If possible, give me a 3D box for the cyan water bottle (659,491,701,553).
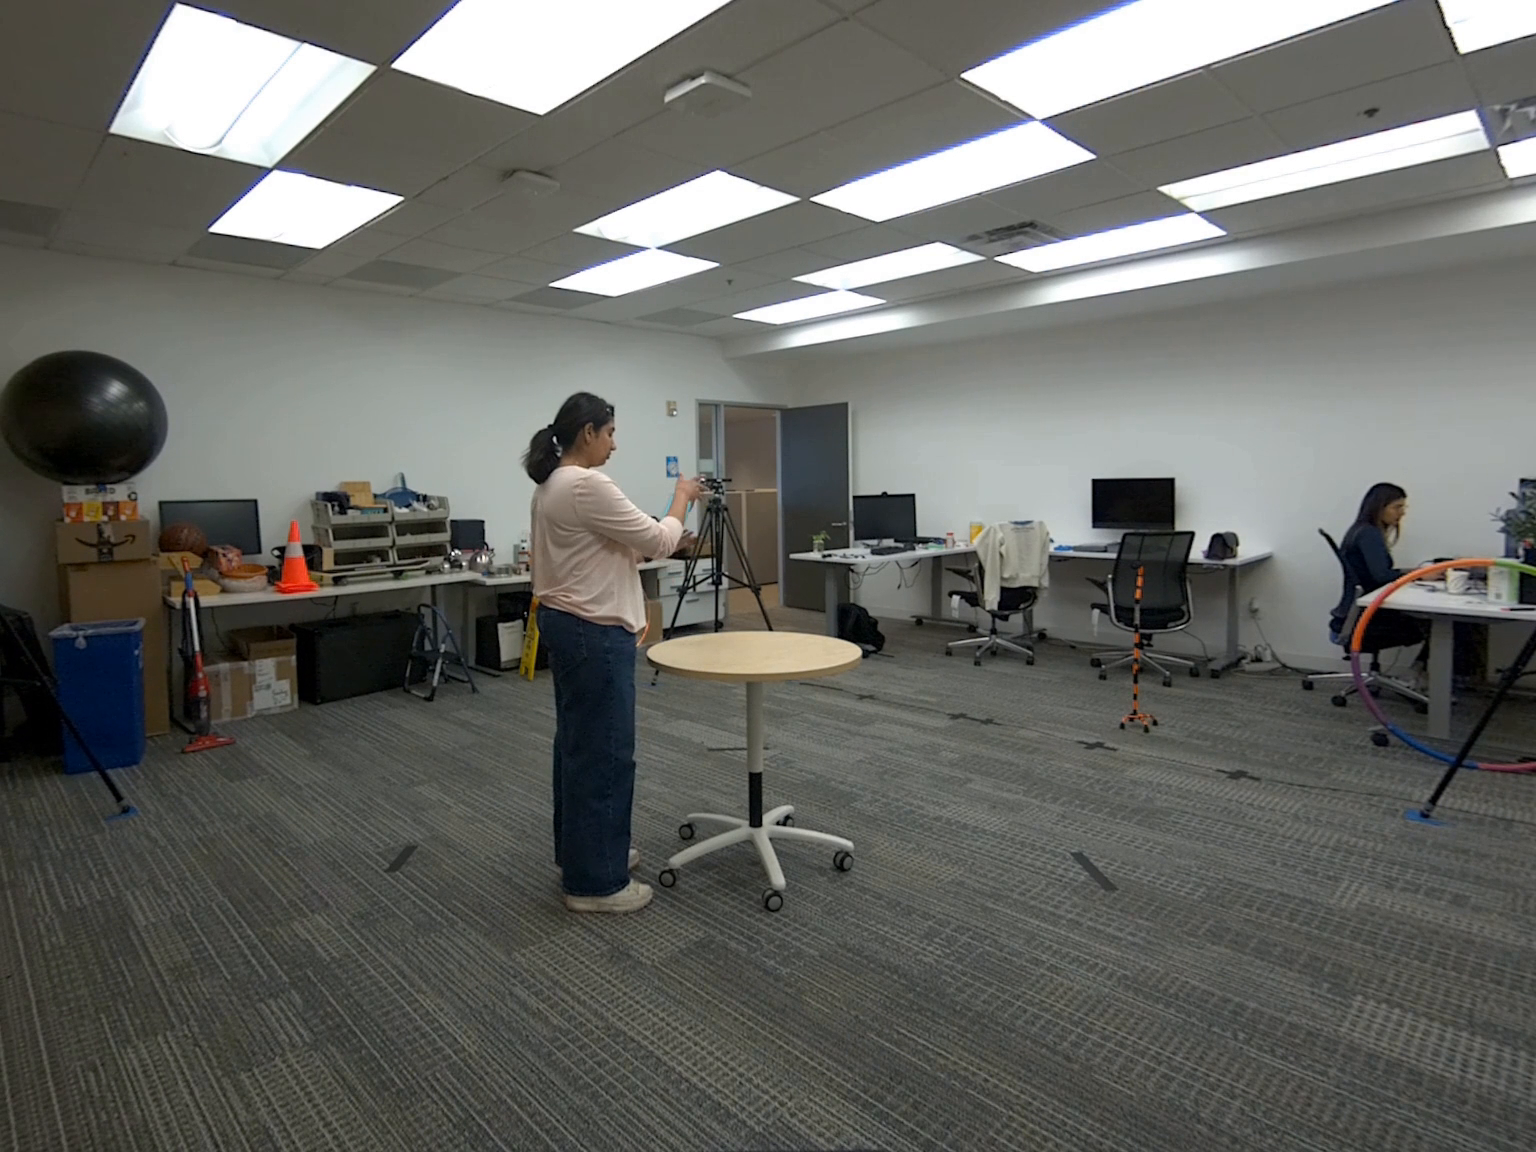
[{"bbox_3d":[-0.329,-0.203,3.133,0.093,0.090,0.288,-1,33,11],"label":"cyan water bottle"}]
